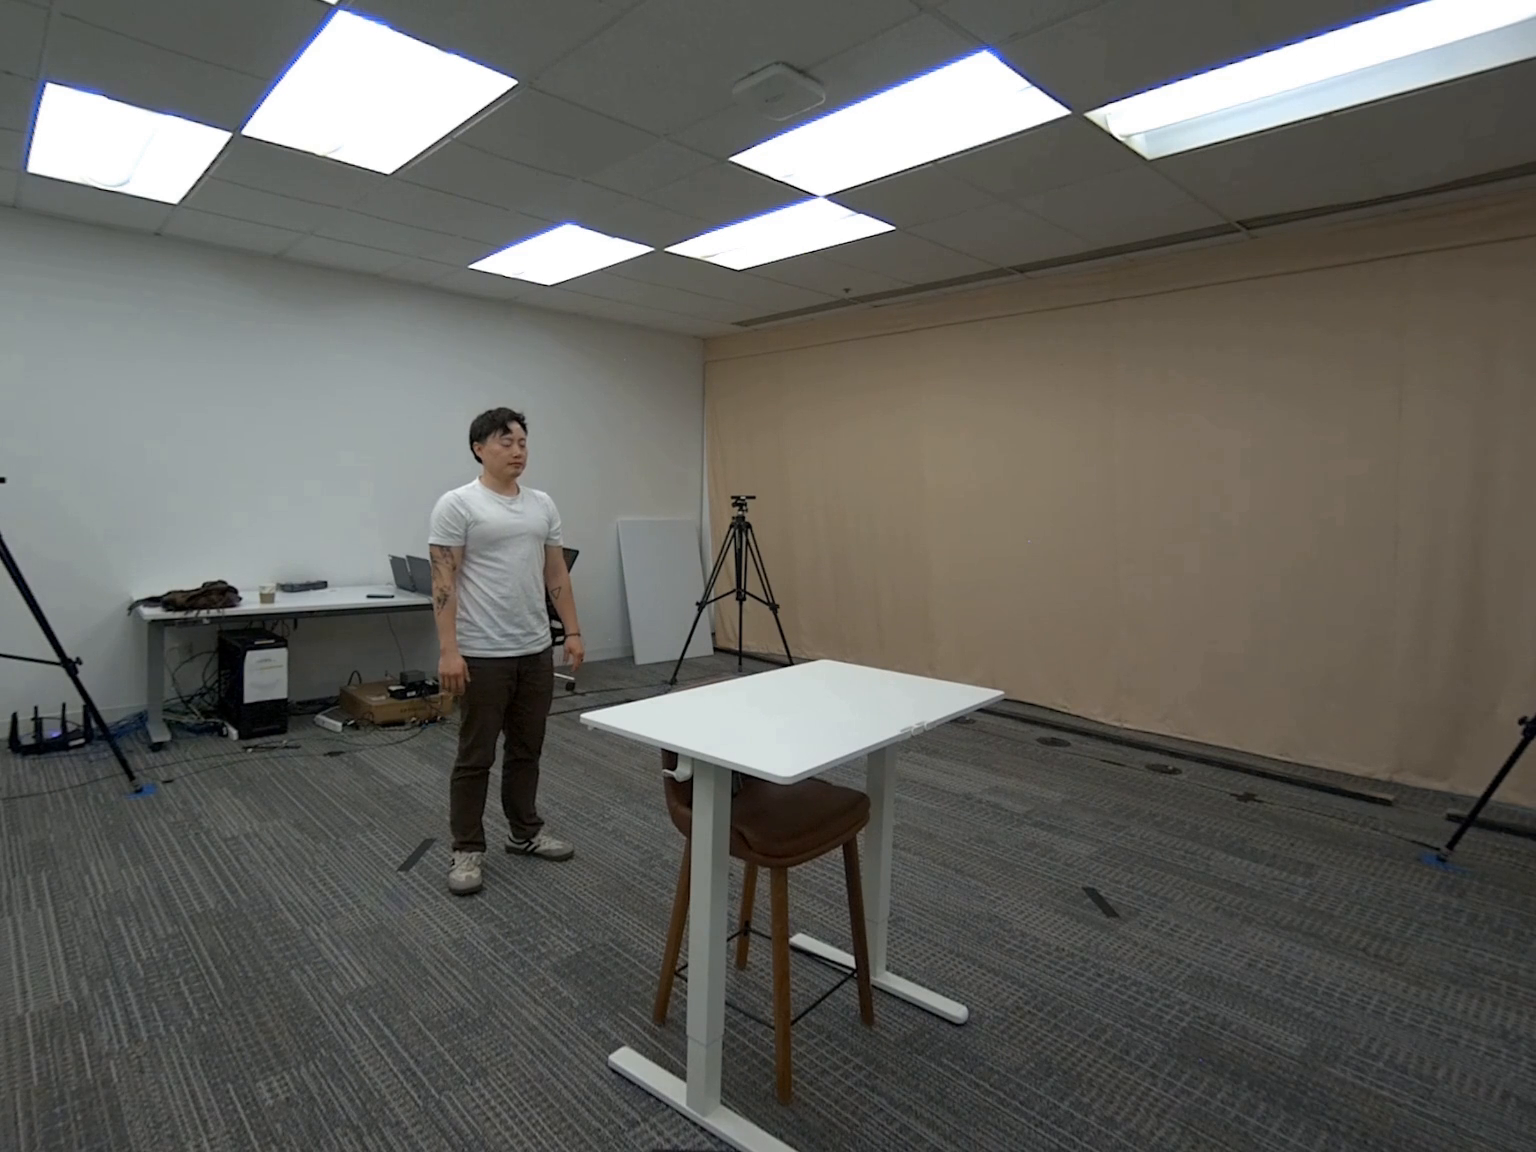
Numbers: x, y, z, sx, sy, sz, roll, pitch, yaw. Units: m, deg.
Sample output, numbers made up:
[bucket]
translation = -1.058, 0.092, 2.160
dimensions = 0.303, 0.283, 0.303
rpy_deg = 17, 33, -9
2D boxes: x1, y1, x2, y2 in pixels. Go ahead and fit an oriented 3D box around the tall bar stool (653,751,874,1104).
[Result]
[tall bar stool]
translation = -0.013, 0.758, 2.202
dimensions = 0.479, 0.888, 0.446
rpy_deg = 3, 4, 39
